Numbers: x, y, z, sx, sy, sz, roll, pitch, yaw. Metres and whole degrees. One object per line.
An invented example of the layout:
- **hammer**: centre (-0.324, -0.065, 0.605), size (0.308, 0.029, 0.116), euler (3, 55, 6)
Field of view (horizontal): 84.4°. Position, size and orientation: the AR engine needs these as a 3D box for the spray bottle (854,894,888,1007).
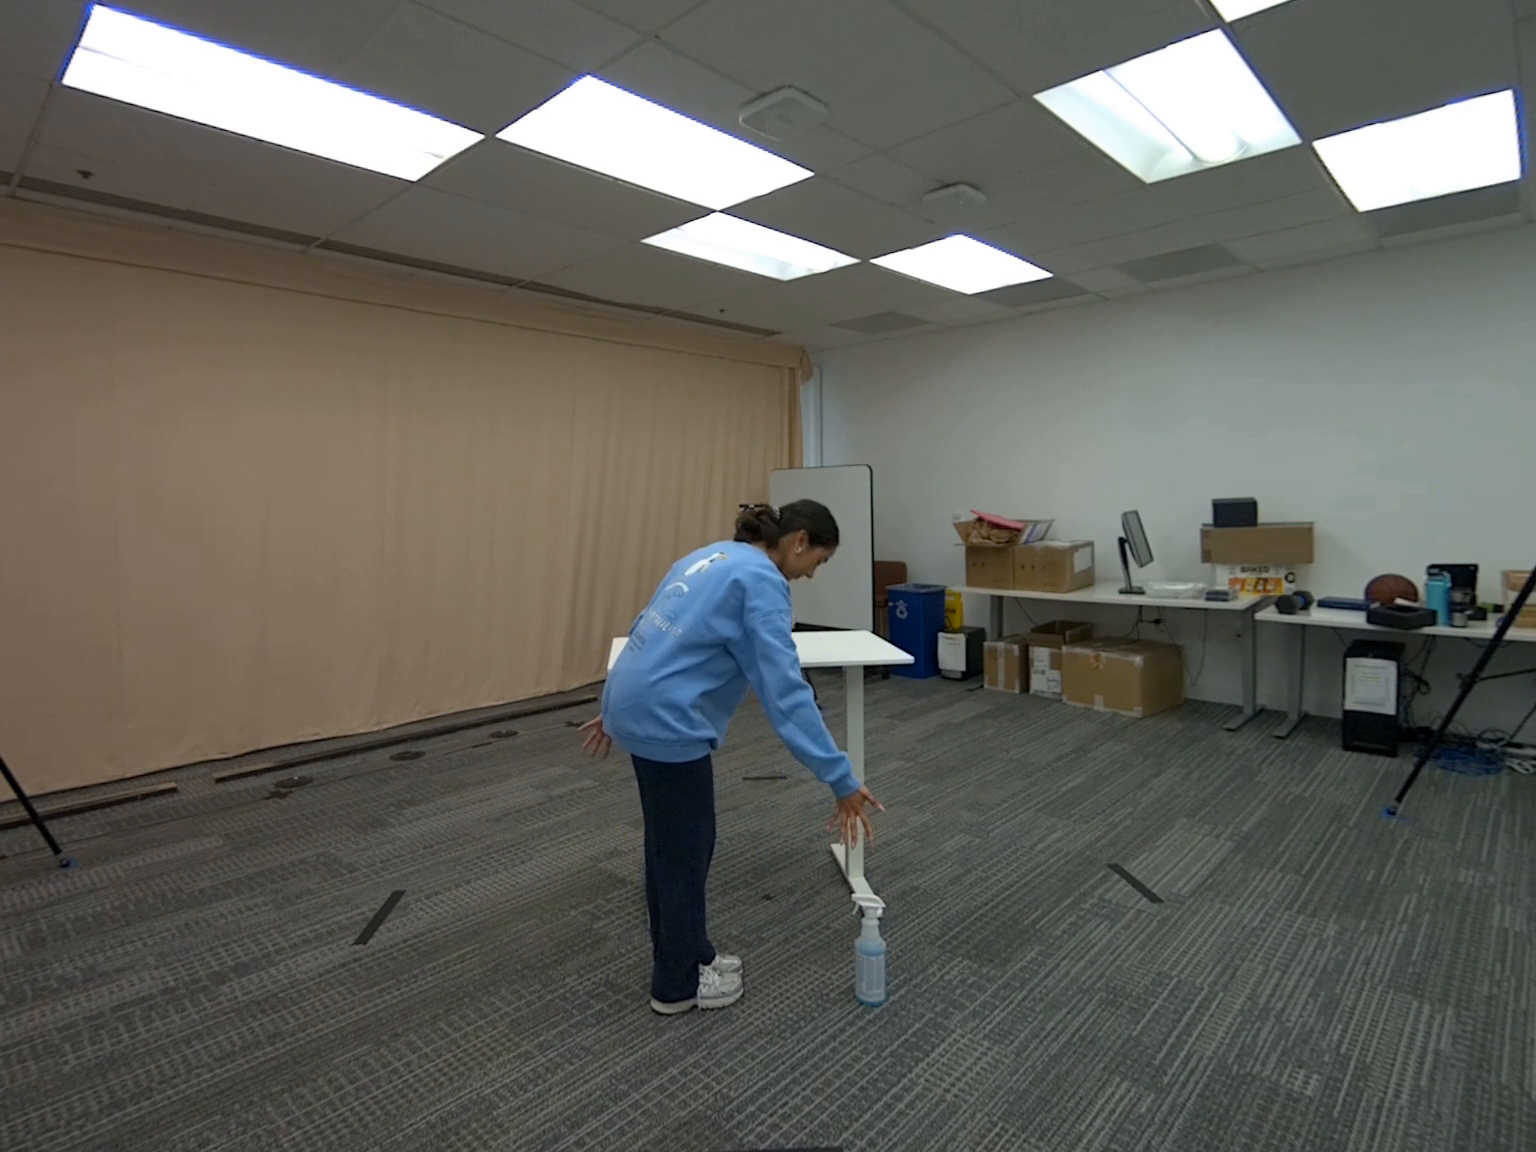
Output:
- **spray bottle**: centre (0.292, 1.050, 2.351), size (0.092, 0.297, 0.085), euler (0, 1, 26)
